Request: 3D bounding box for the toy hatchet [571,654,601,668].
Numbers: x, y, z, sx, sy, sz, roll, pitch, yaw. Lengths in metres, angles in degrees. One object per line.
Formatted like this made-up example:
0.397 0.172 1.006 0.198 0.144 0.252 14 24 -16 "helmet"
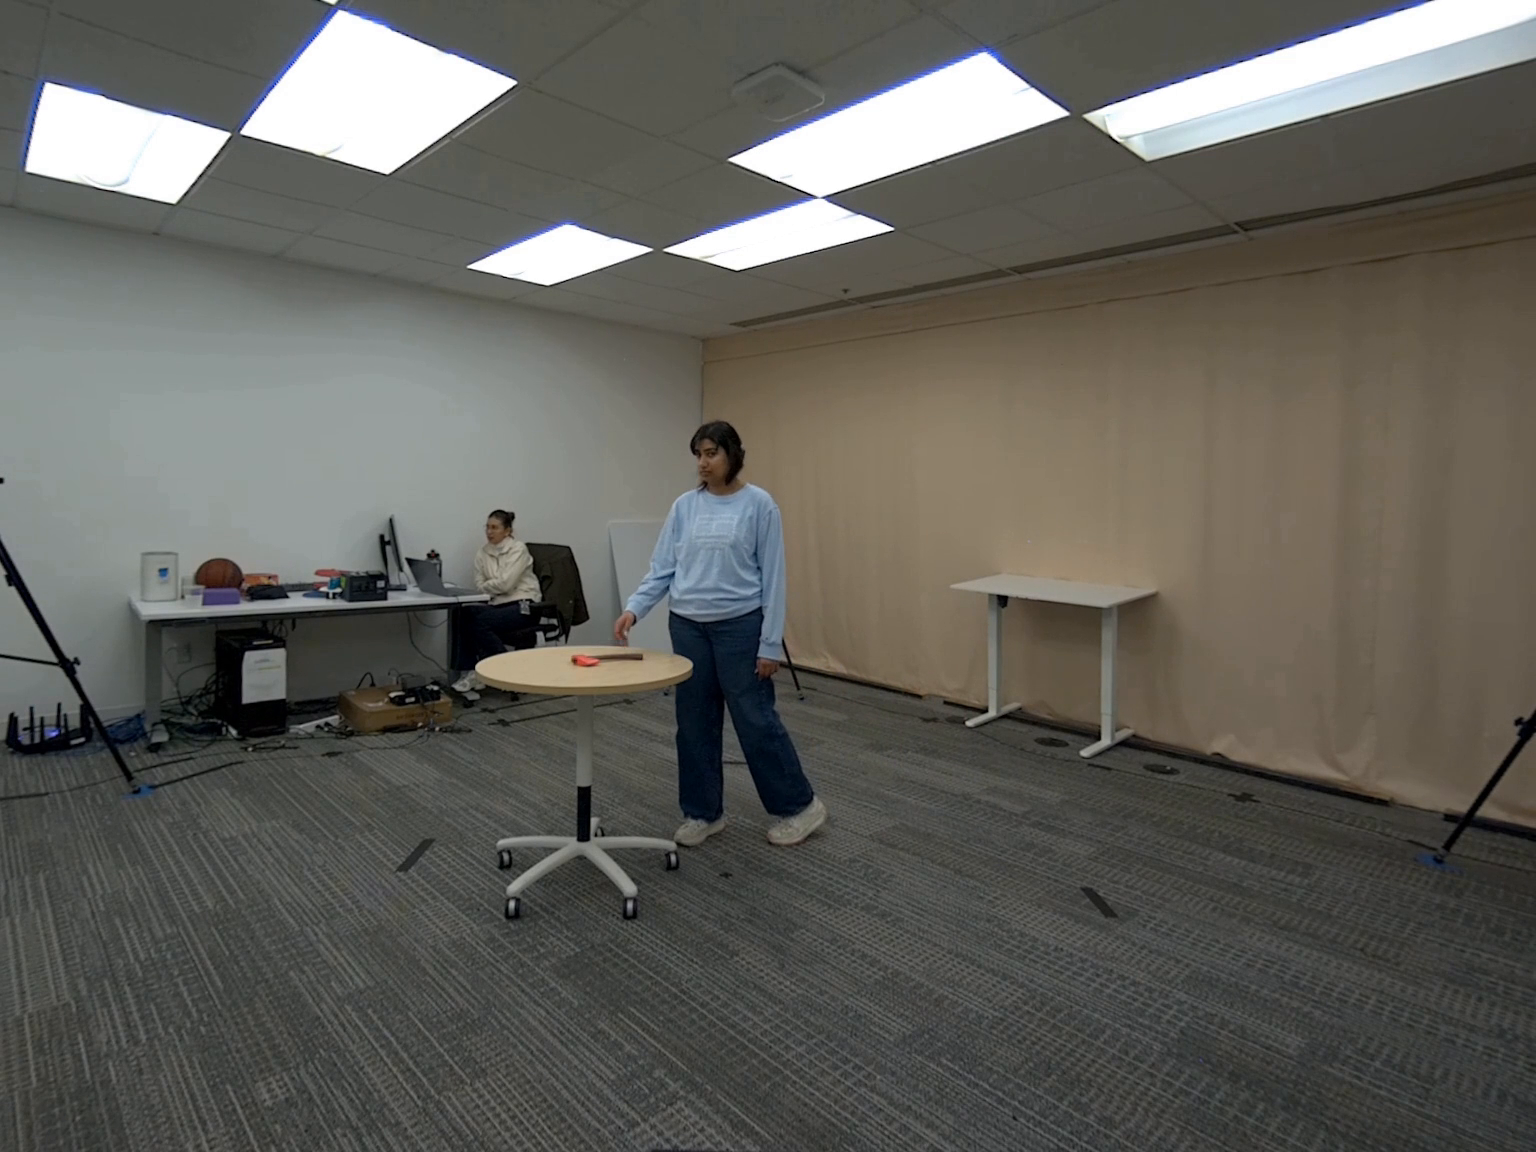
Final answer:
-0.582 0.302 3.047 0.266 0.029 0.133 0 5 -17 "toy hatchet"
